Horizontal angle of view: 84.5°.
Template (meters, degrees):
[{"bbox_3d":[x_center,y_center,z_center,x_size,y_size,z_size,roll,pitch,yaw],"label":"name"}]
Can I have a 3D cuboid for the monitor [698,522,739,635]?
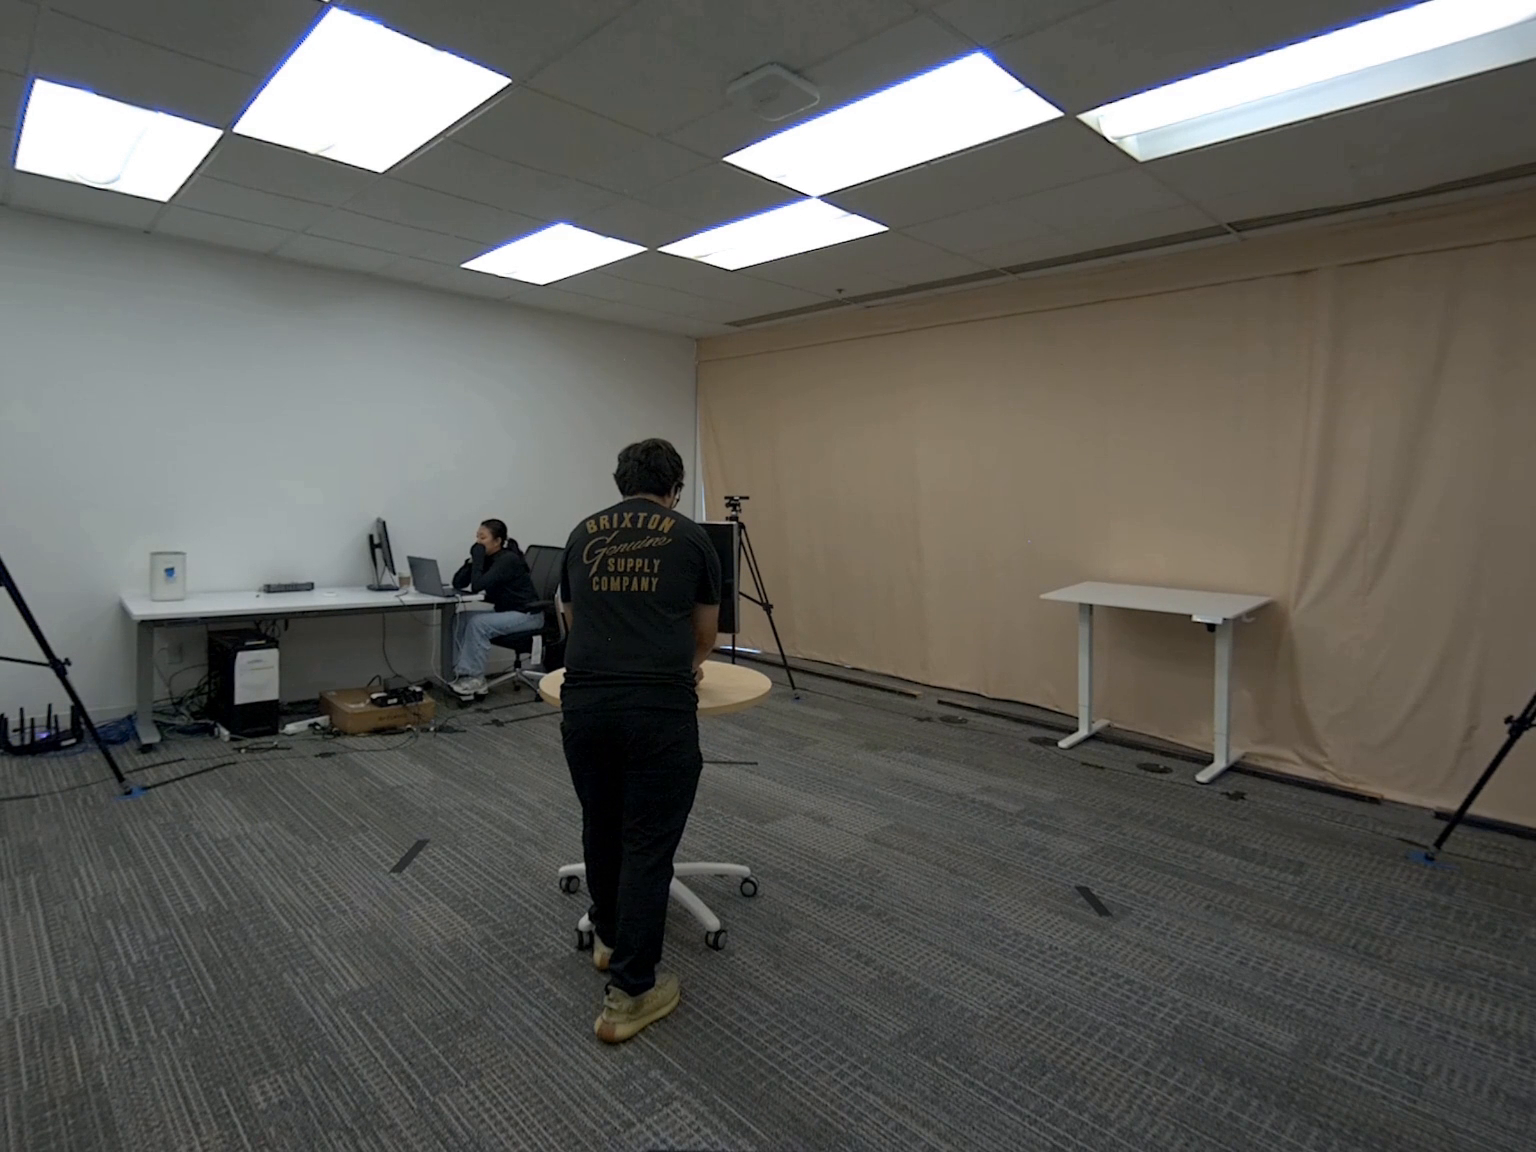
[{"bbox_3d":[-0.387,0.093,2.744,0.576,0.552,0.207,3,5,25],"label":"monitor"}]
